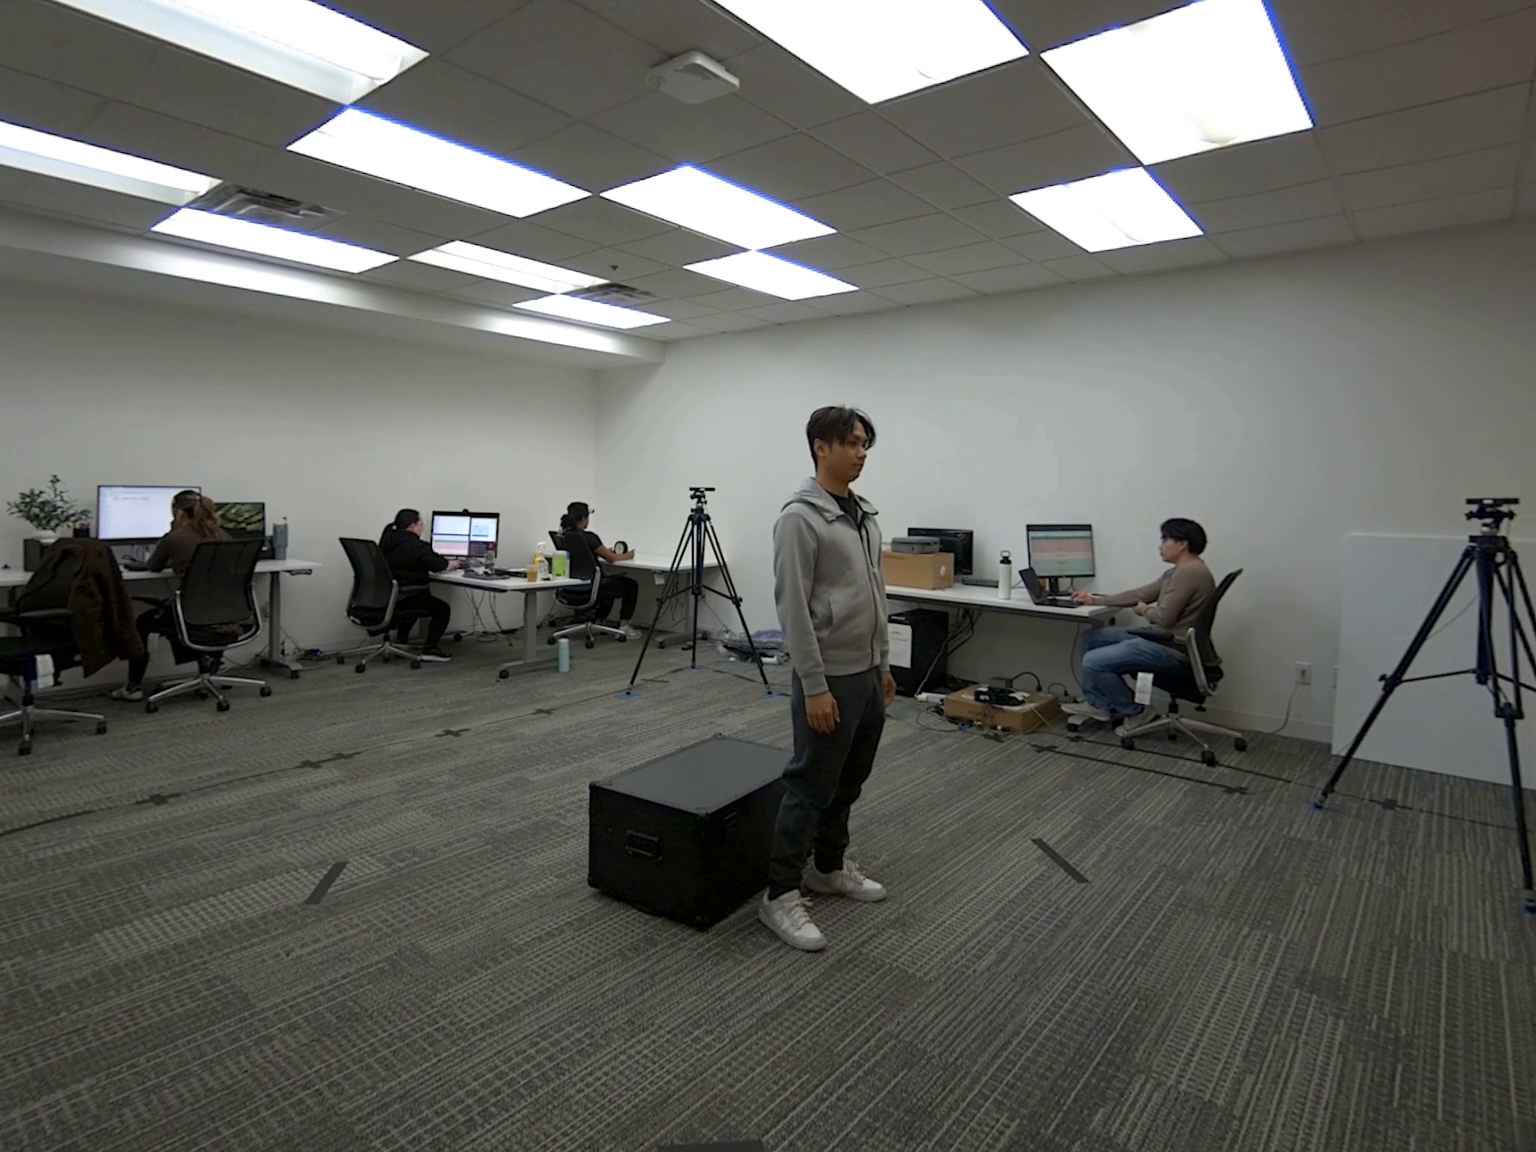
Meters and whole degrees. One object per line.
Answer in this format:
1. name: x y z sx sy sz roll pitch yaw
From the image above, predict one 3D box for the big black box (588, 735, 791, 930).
1. big black box: -0.240 0.884 3.060 0.537 0.395 0.838 4 5 32
